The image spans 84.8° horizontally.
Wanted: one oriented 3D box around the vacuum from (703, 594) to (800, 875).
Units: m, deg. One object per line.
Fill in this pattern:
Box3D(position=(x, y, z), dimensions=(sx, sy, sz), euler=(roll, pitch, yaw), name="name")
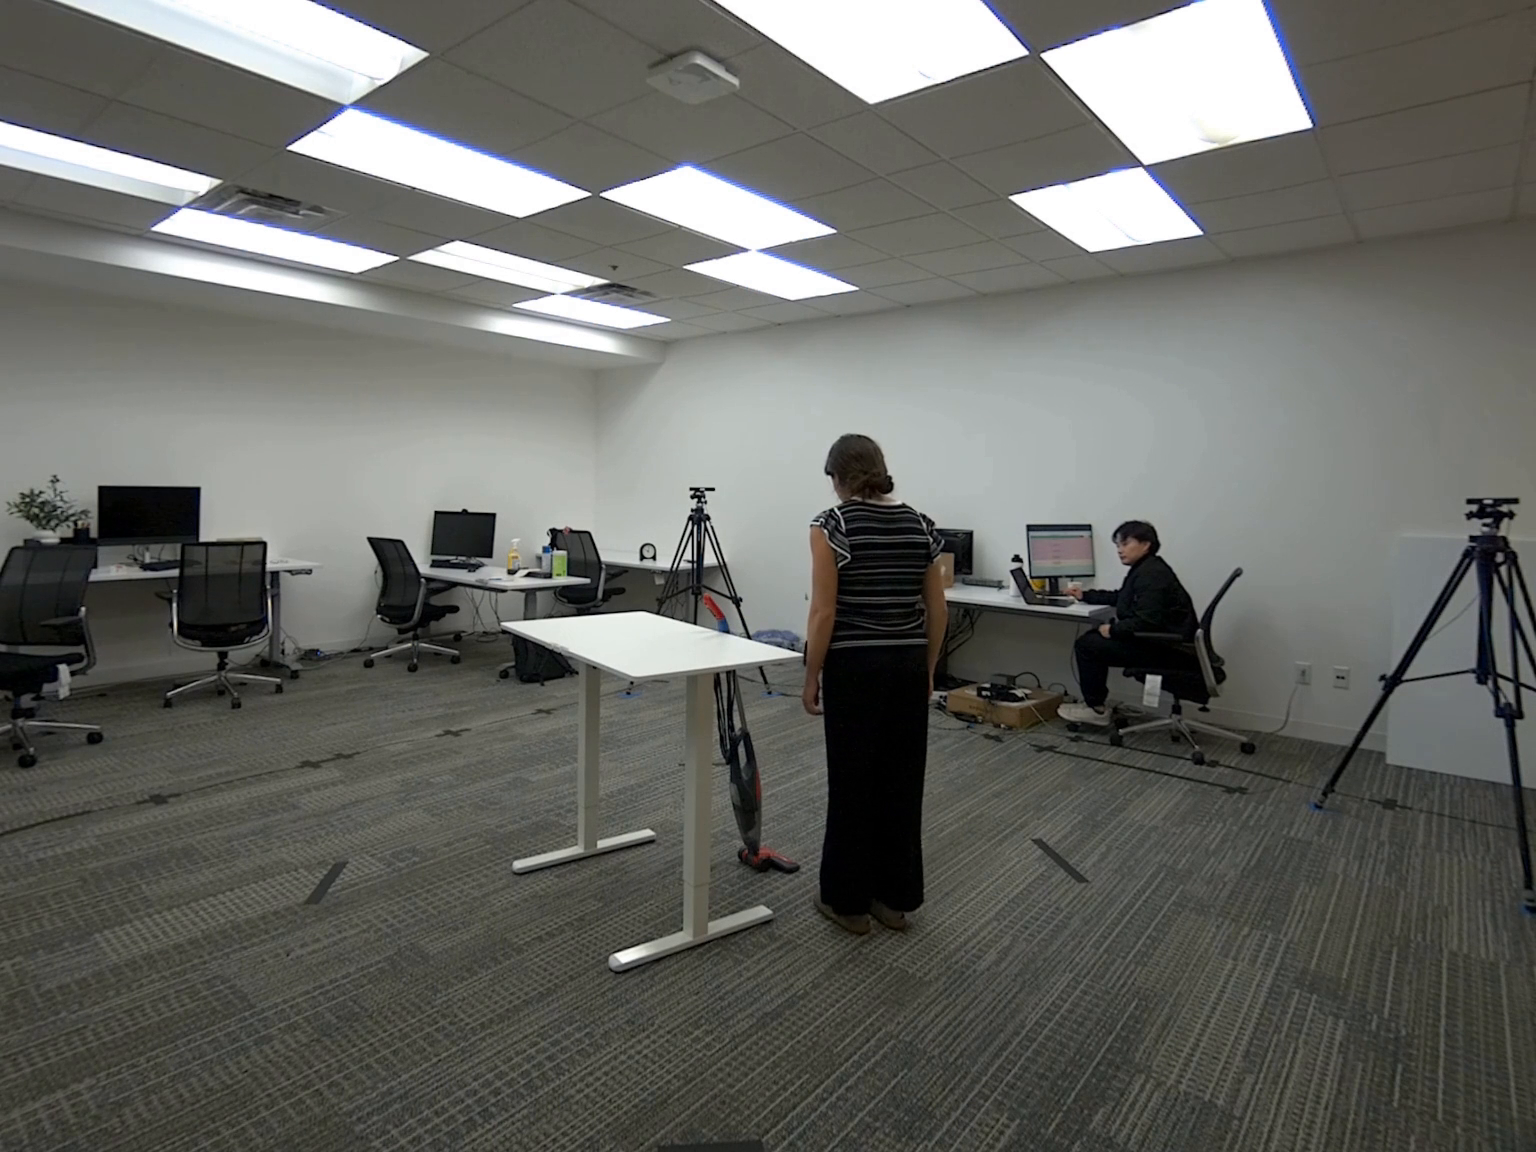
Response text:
Box3D(position=(-0.122, 0.572, 3.059), dimensions=(0.141, 1.035, 0.261), euler=(-21, 15, -37), name="vacuum")
